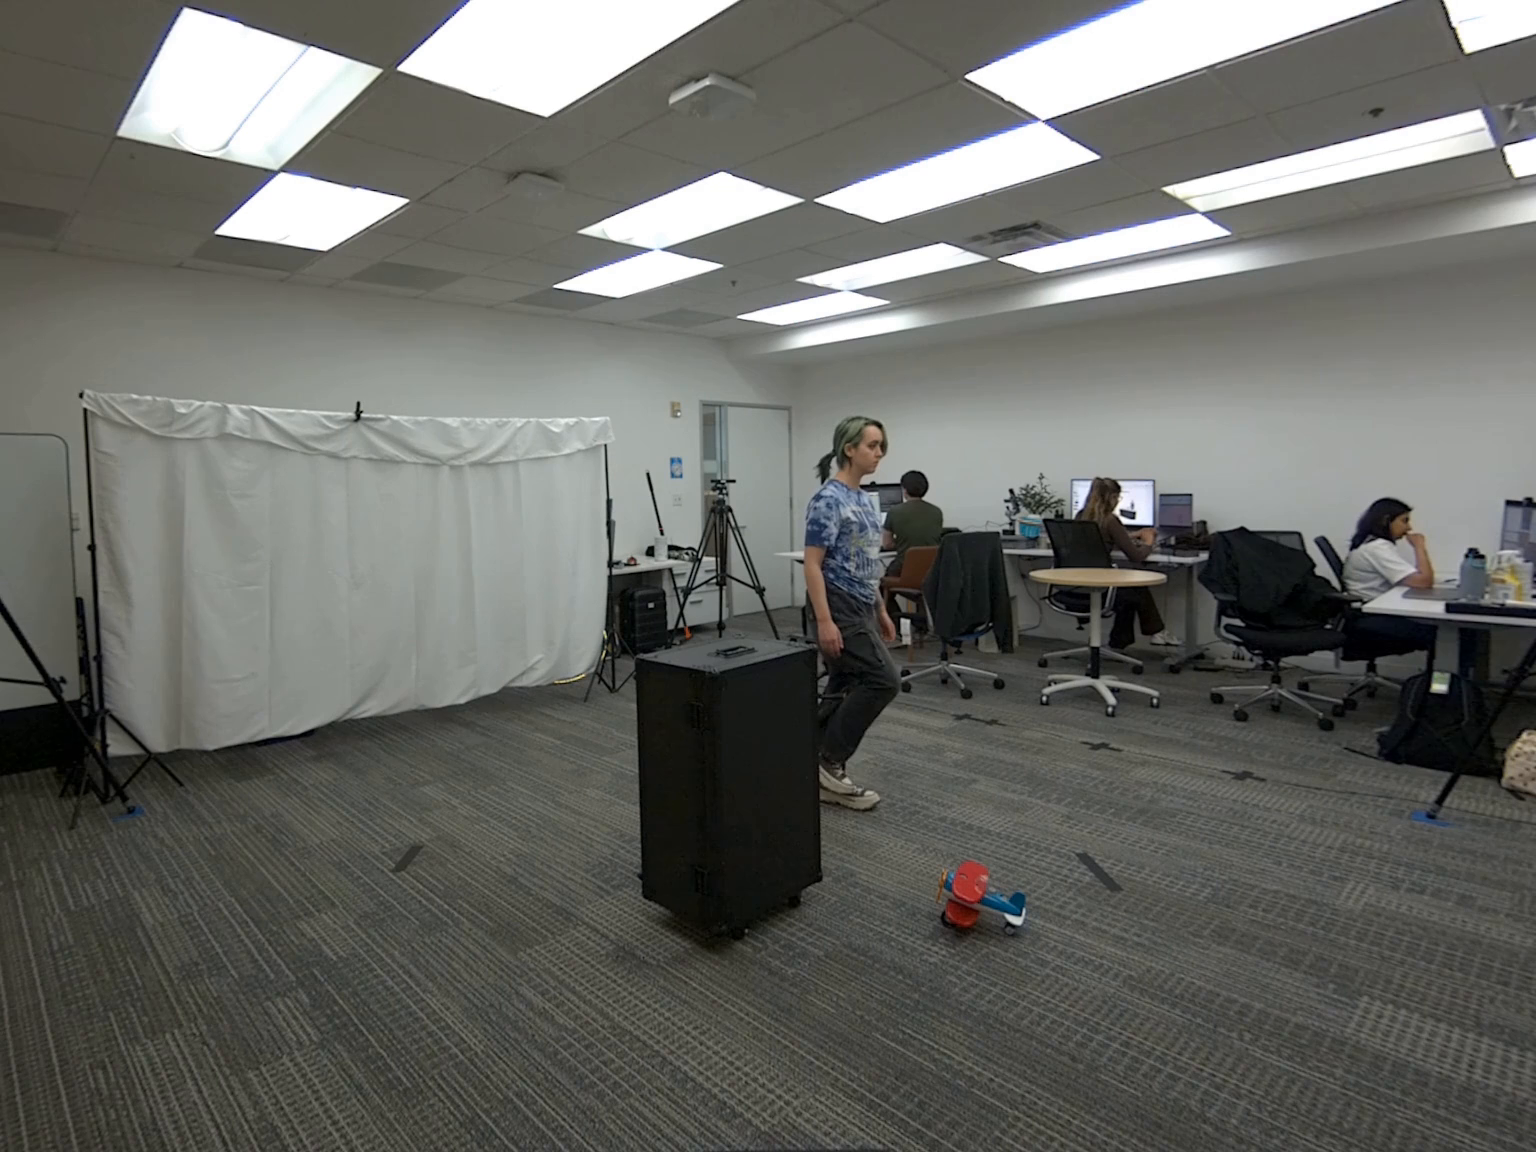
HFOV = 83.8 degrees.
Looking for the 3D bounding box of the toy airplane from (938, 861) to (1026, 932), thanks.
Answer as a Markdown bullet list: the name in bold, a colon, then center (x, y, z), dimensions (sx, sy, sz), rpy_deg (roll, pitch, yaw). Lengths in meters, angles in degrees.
- **toy airplane**: center (0.652, 1.001, 2.669), dimensions (0.258, 0.156, 0.253), rpy_deg (-3, 6, -4)
